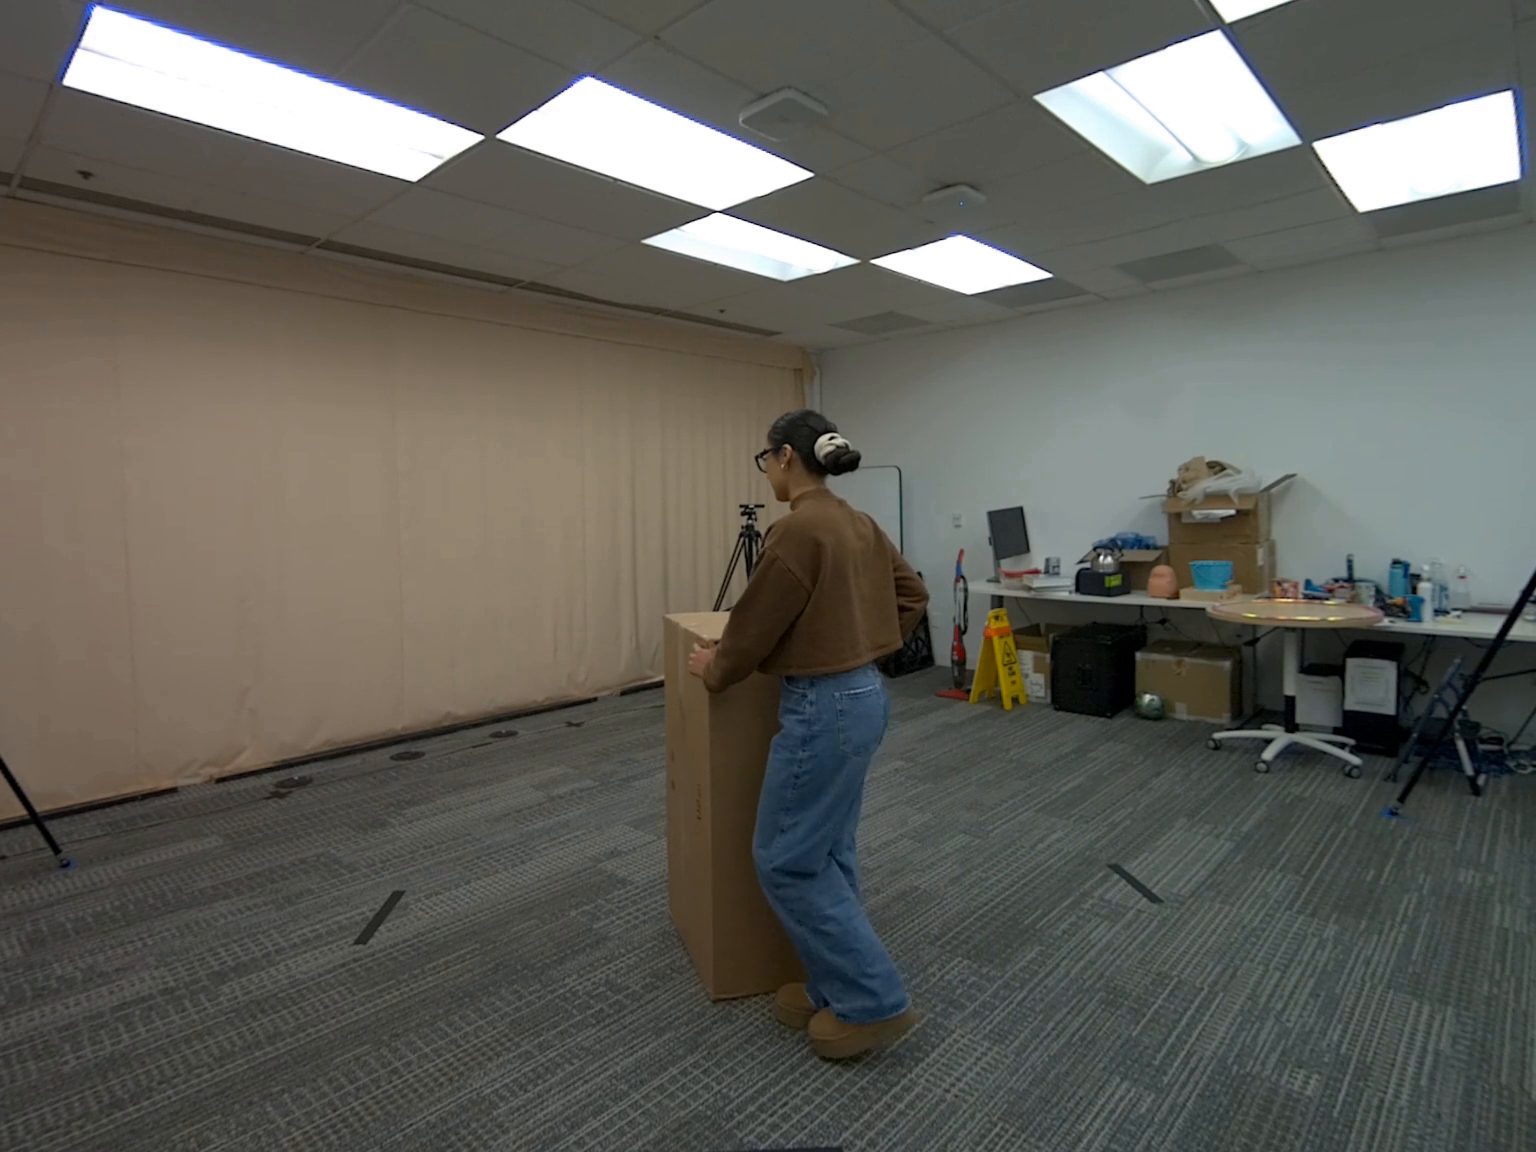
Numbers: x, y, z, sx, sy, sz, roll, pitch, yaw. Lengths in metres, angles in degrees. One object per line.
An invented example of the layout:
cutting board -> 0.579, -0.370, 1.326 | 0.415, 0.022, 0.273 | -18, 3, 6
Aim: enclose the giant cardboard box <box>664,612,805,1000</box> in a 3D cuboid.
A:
giant cardboard box -> -0.053, 0.660, 2.666 | 0.418, 1.024, 0.589 | -2, 3, -19
